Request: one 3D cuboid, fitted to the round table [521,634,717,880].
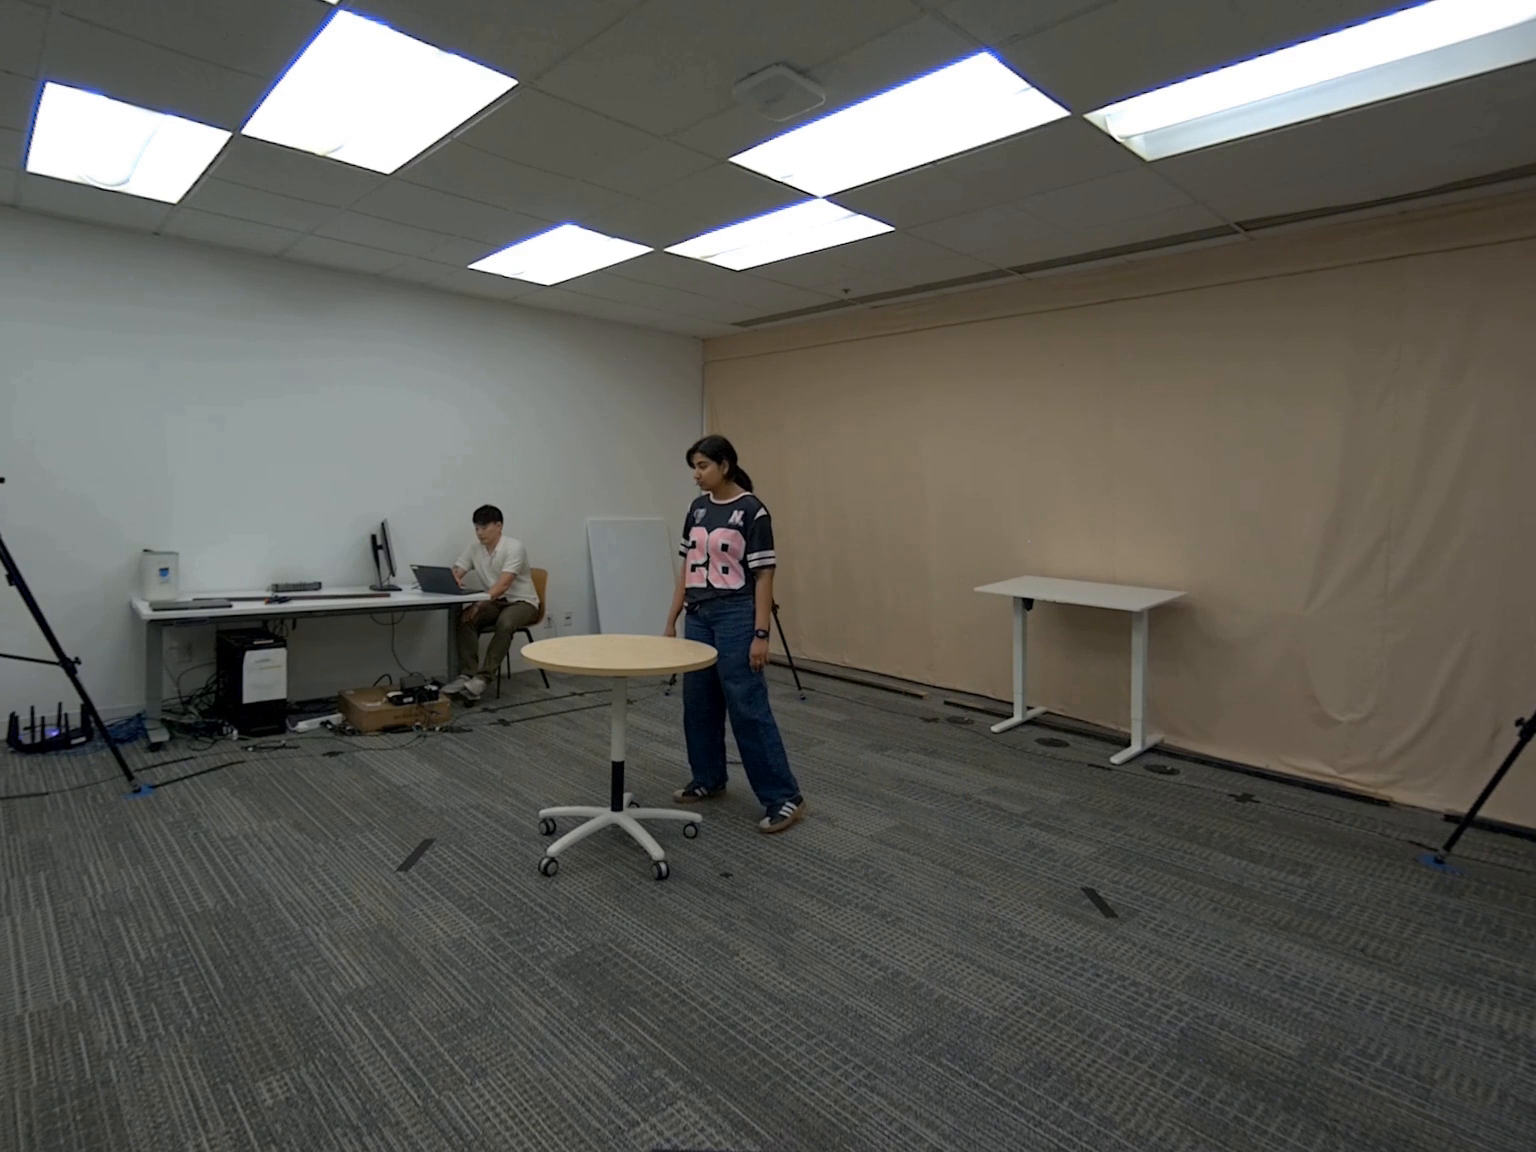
[{"bbox_3d":[-0.606,0.688,3.329,0.763,0.792,0.766,2,4,-1],"label":"round table"}]
